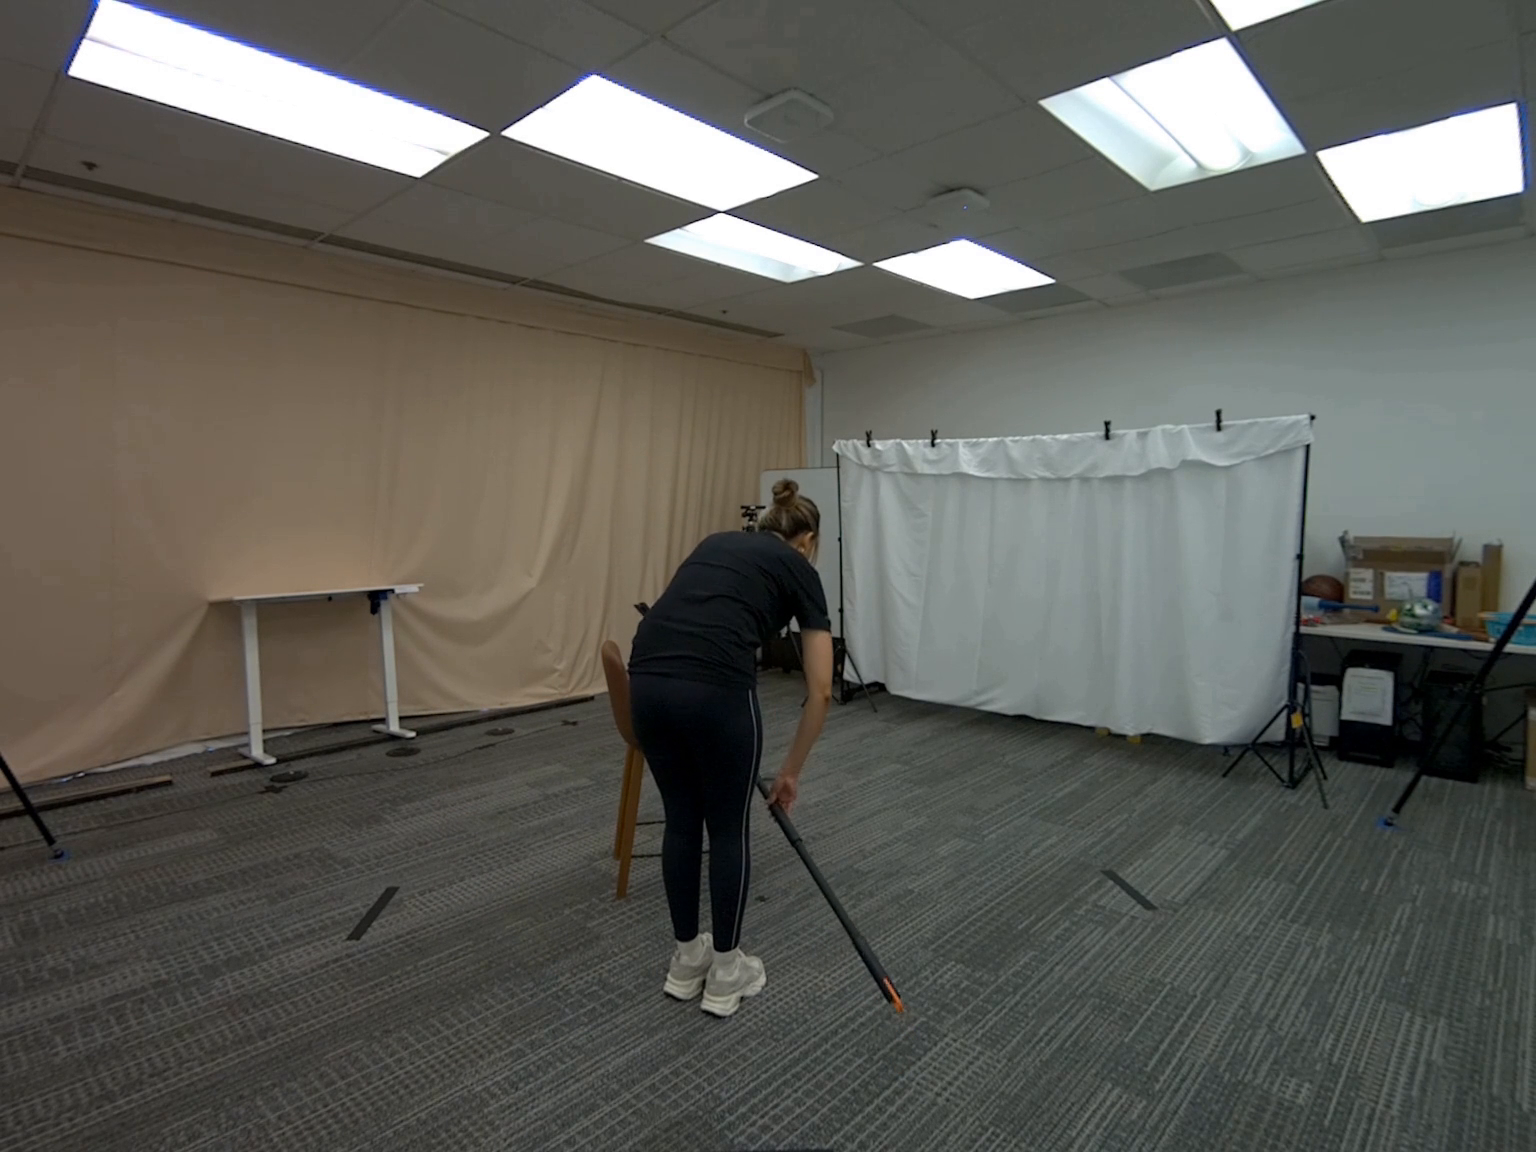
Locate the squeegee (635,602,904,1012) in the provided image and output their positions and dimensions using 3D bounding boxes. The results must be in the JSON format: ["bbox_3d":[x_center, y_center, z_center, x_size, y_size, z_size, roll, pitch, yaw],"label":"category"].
[{"bbox_3d":[-0.001,0.606,2.527,0.053,0.423,1.591,-35,40,-5],"label":"squeegee"}]
